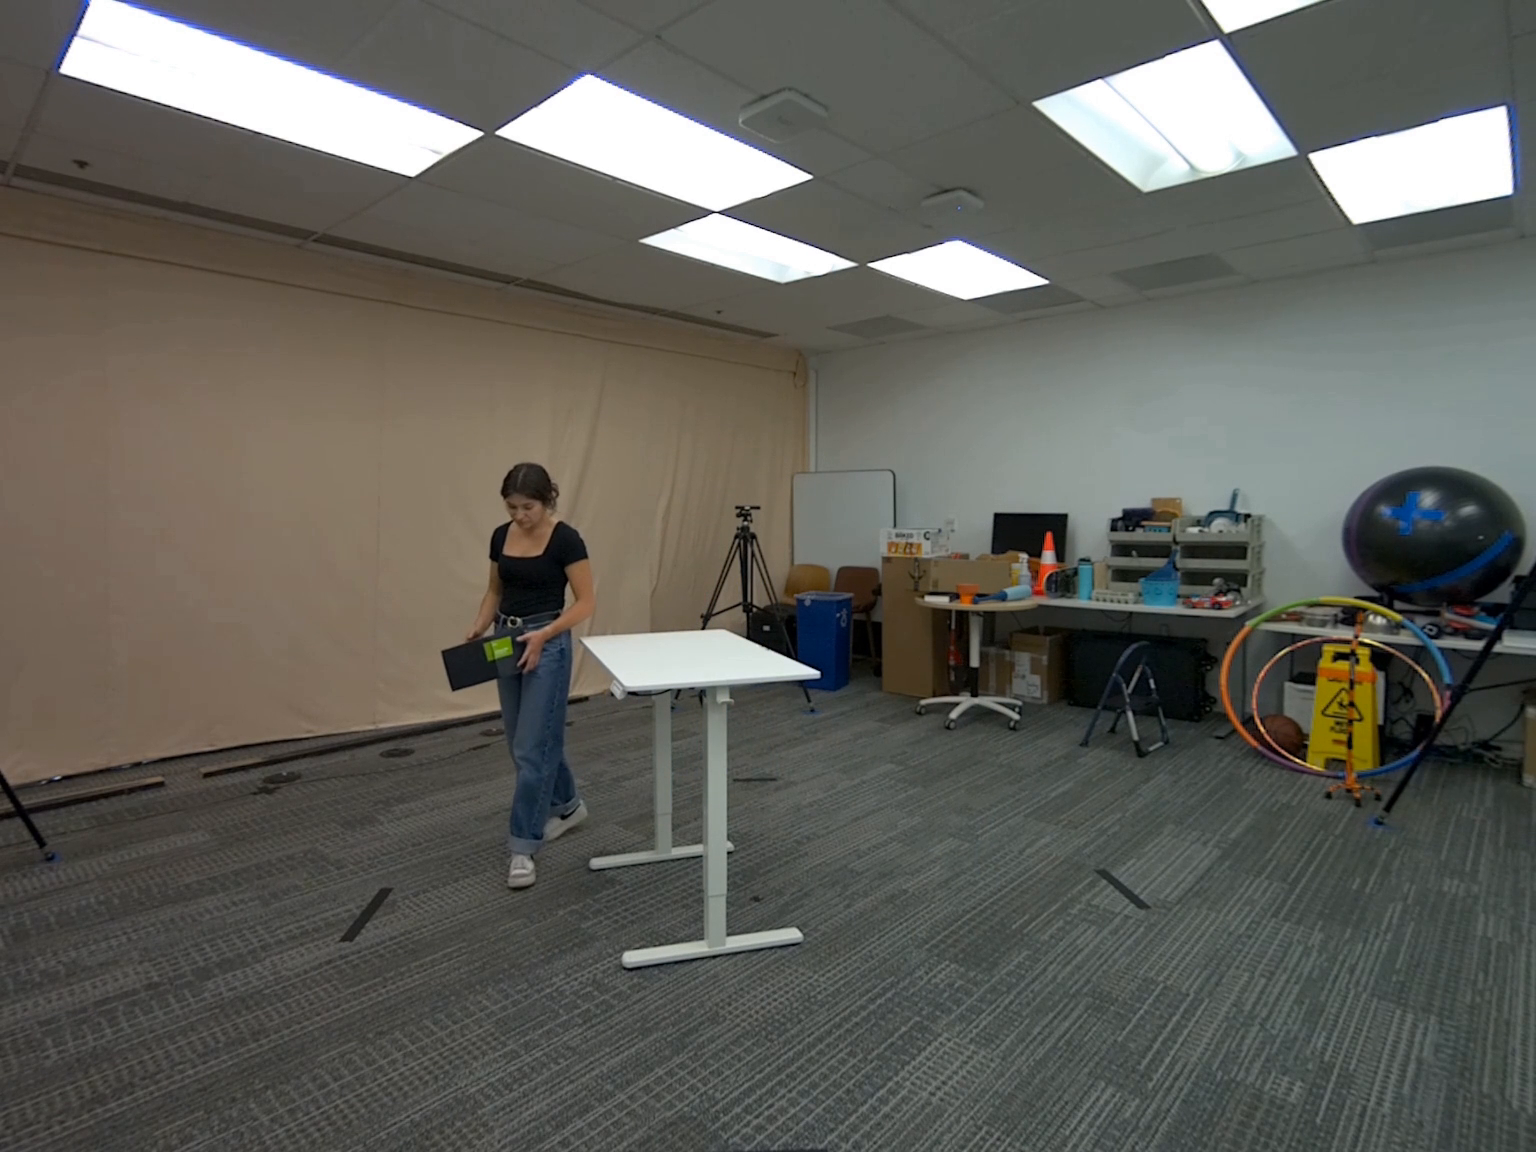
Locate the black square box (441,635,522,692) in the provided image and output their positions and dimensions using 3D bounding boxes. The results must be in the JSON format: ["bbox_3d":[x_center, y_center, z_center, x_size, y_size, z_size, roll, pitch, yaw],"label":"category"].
[{"bbox_3d":[-1.036,0.308,3.131,0.220,0.156,0.224,-17,-2,17],"label":"black square box"}]
